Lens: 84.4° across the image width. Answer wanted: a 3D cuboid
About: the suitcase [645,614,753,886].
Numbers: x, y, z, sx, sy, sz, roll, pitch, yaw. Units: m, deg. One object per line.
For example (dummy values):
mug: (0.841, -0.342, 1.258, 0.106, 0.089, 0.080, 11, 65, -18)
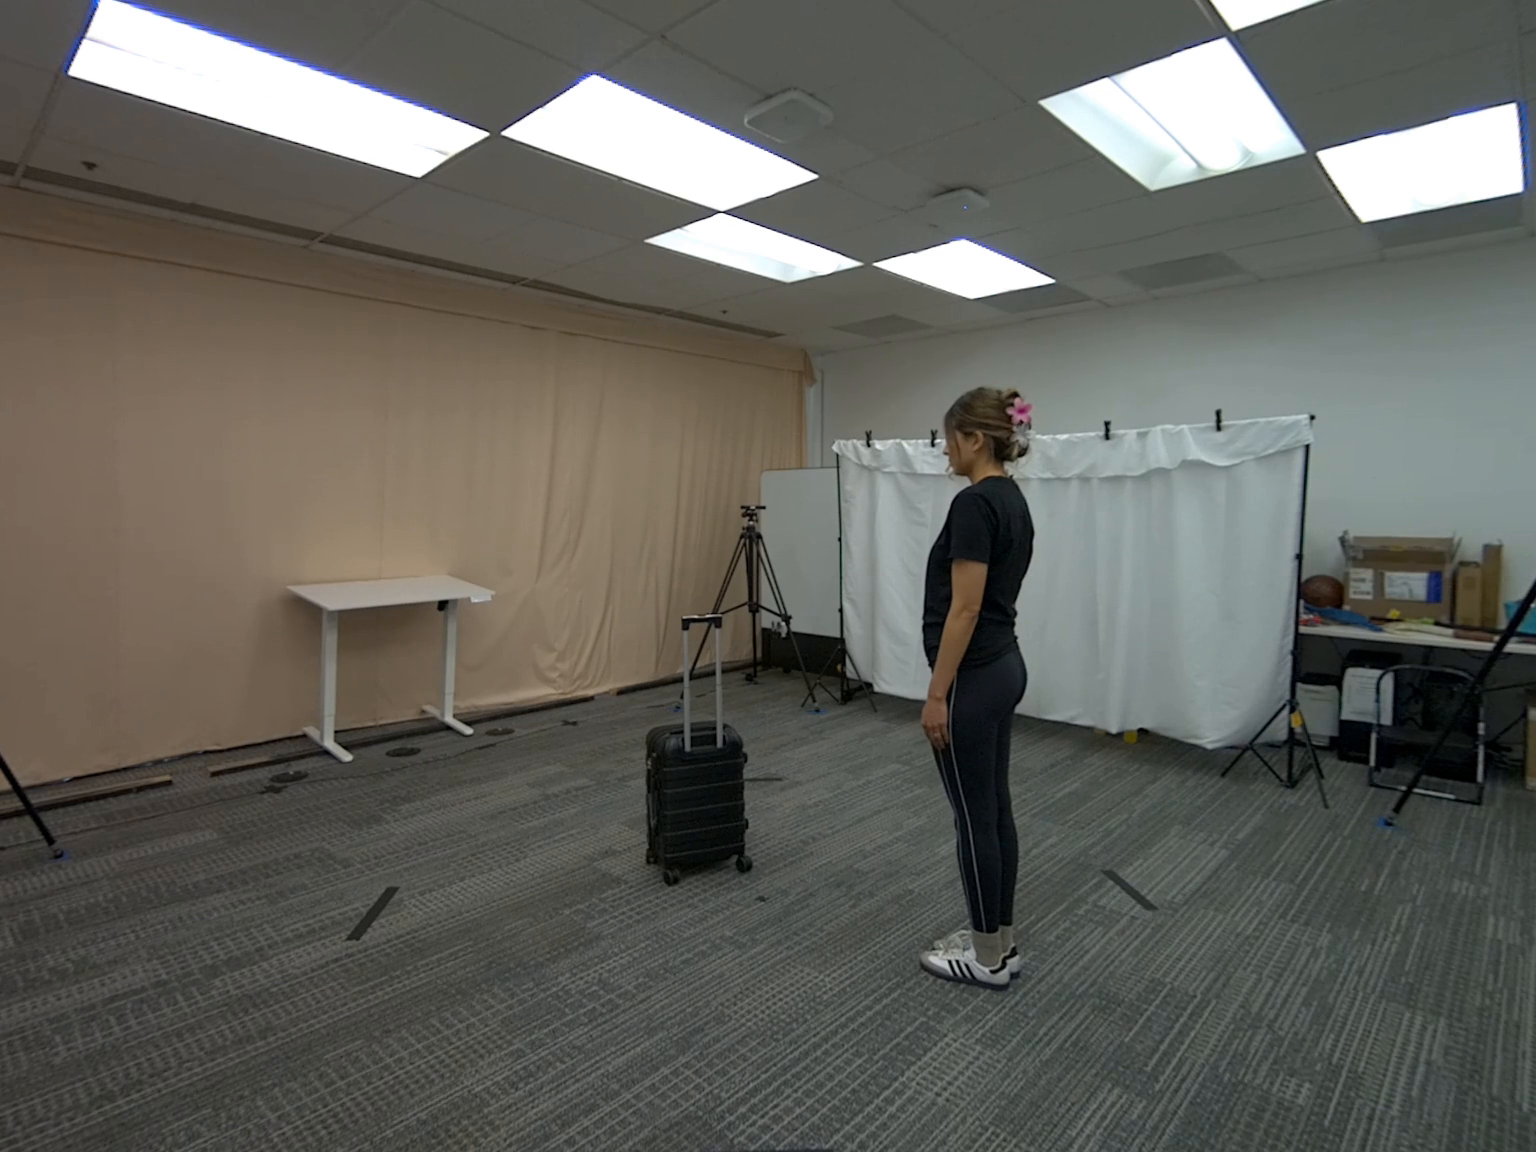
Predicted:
suitcase: (-0.287, 0.642, 3.258, 0.376, 0.978, 0.262, -2, 0, -20)
